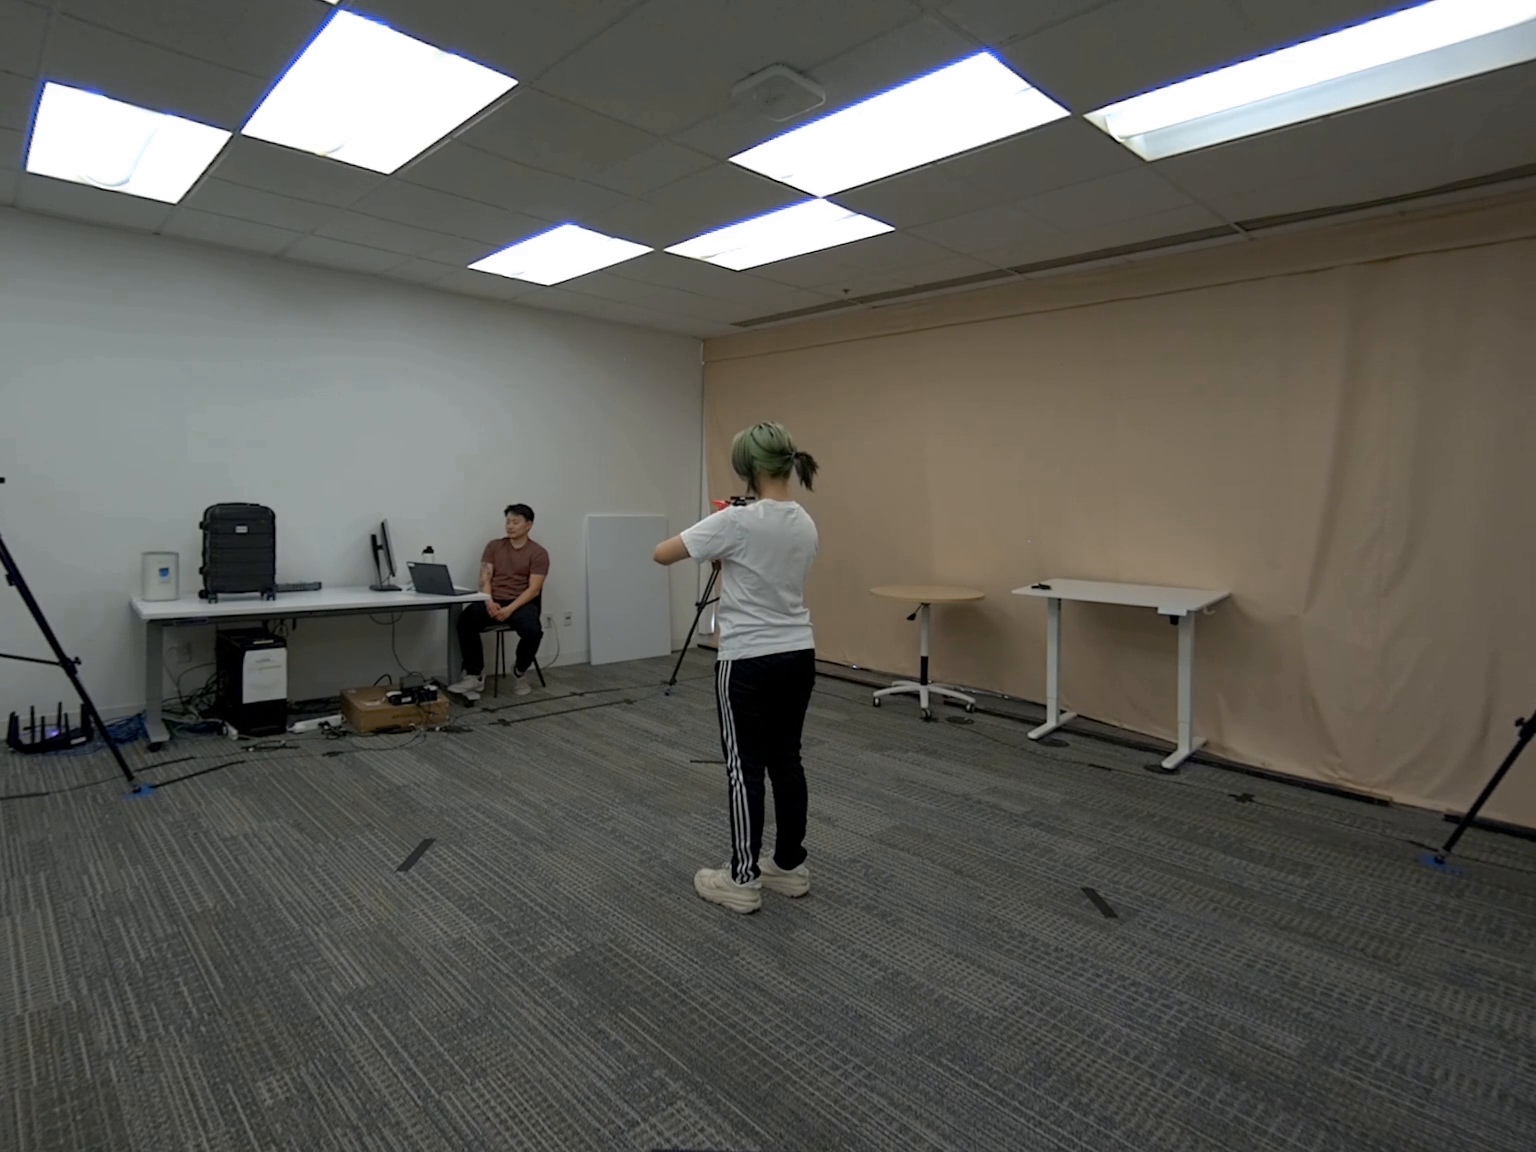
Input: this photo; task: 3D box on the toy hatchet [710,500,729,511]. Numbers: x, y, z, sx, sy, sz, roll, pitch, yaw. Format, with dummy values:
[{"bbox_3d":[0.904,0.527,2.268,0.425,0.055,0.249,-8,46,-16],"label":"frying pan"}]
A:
[{"bbox_3d":[-0.149,-0.142,3.108,0.134,0.268,0.029,5,10,28],"label":"toy hatchet"}]
